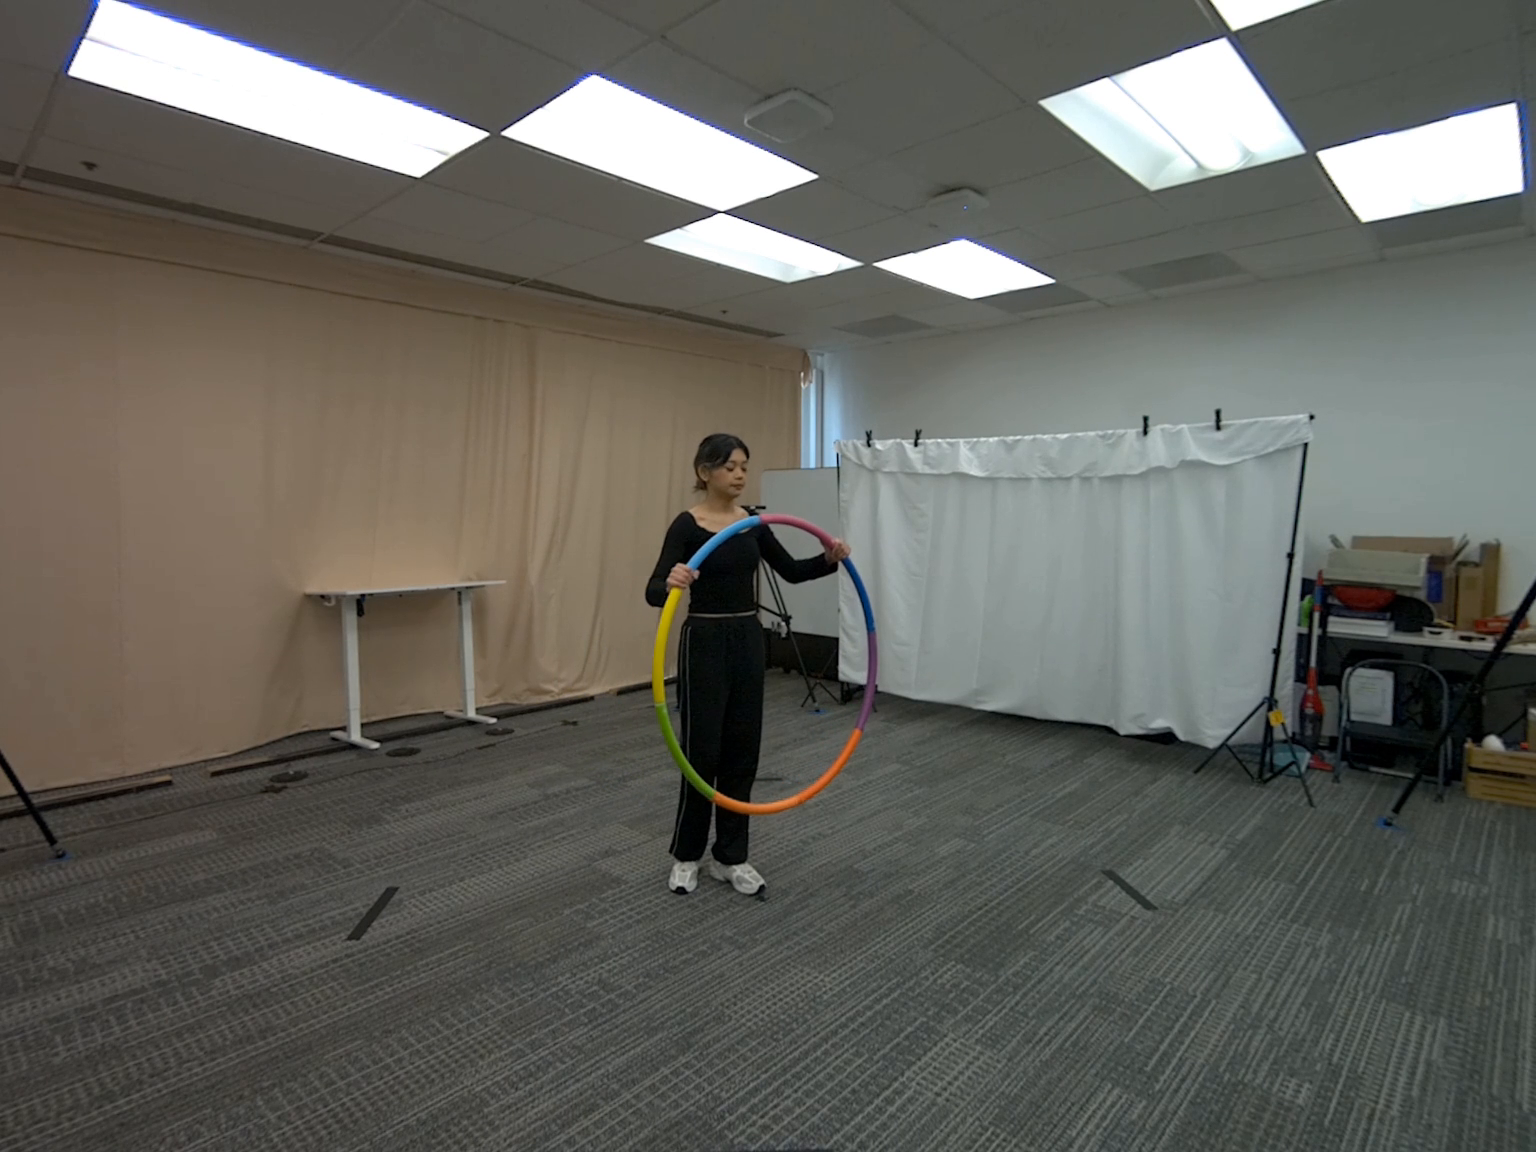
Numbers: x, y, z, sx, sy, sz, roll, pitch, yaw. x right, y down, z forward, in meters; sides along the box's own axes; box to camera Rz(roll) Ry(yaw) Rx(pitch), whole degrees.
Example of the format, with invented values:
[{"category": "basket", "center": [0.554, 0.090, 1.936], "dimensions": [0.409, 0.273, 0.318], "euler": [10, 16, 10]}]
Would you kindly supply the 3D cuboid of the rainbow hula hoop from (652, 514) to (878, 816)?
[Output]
[{"category": "rainbow hula hoop", "center": [0.030, 0.295, 2.827], "dimensions": [0.950, 0.978, 0.036], "euler": [-3, 1, -37]}]
